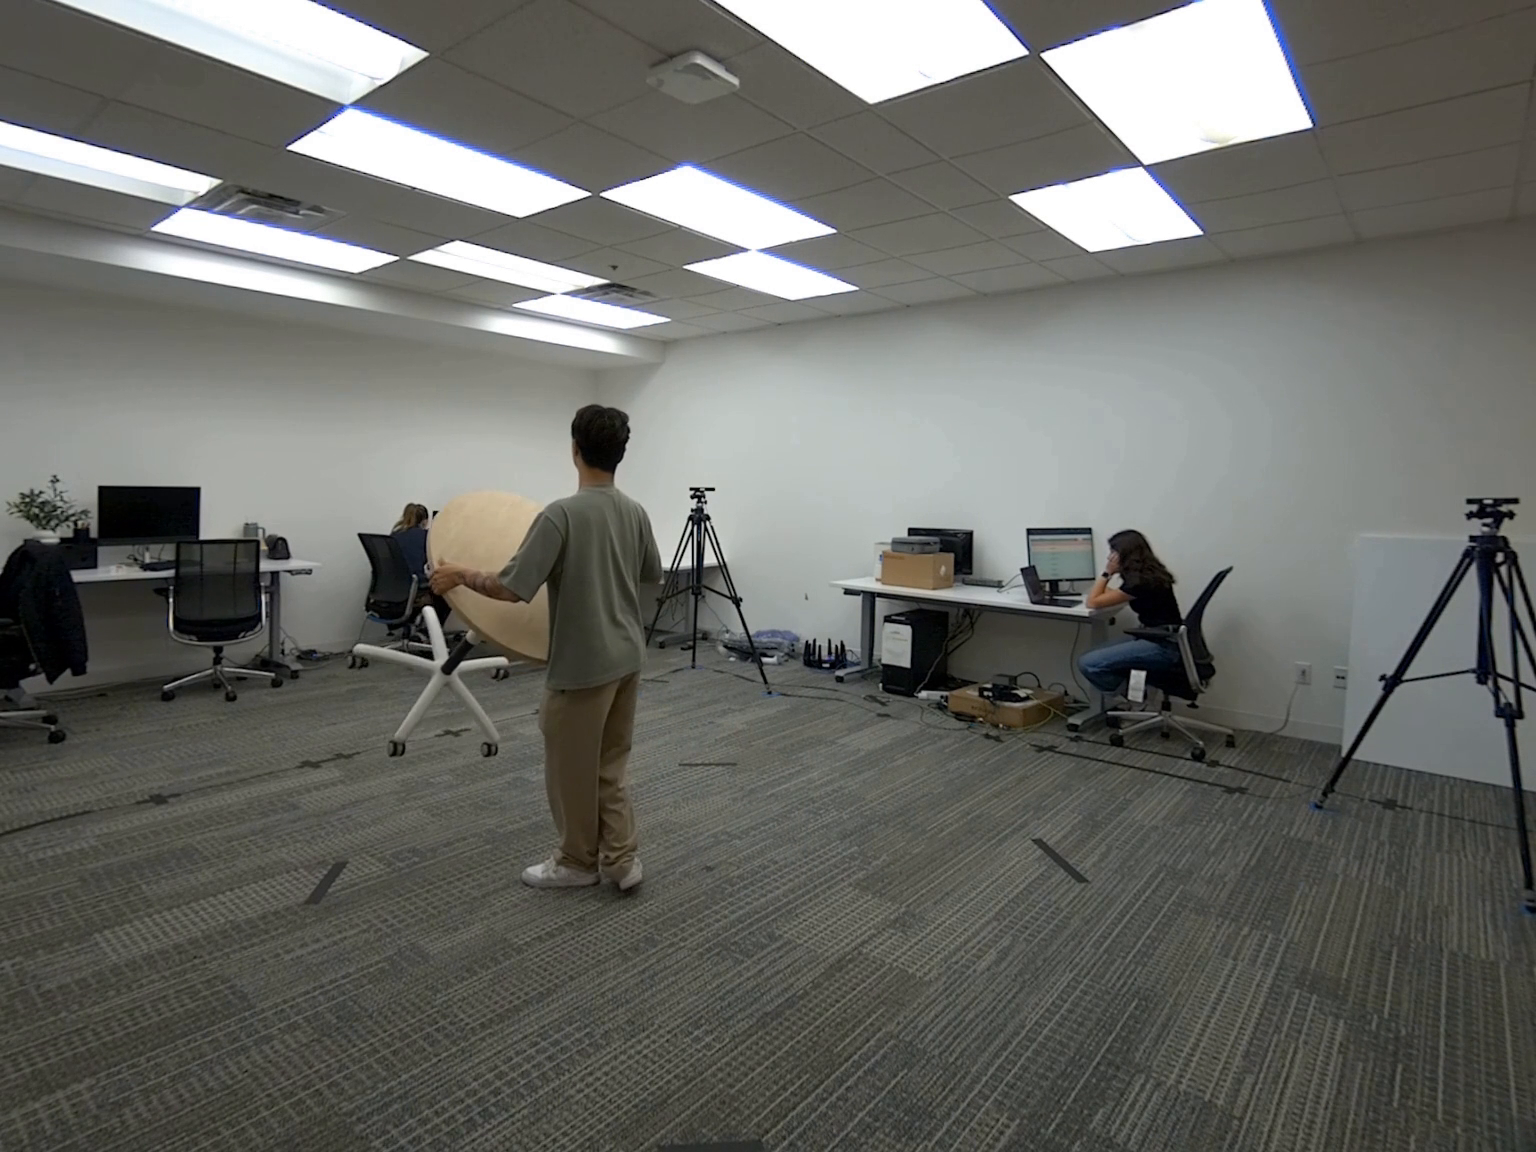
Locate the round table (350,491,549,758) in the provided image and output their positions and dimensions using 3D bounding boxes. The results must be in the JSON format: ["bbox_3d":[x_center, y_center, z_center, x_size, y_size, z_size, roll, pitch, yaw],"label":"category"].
[{"bbox_3d":[-1.116,0.225,3.283,0.788,0.807,0.763,-44,-22,29],"label":"round table"}]
